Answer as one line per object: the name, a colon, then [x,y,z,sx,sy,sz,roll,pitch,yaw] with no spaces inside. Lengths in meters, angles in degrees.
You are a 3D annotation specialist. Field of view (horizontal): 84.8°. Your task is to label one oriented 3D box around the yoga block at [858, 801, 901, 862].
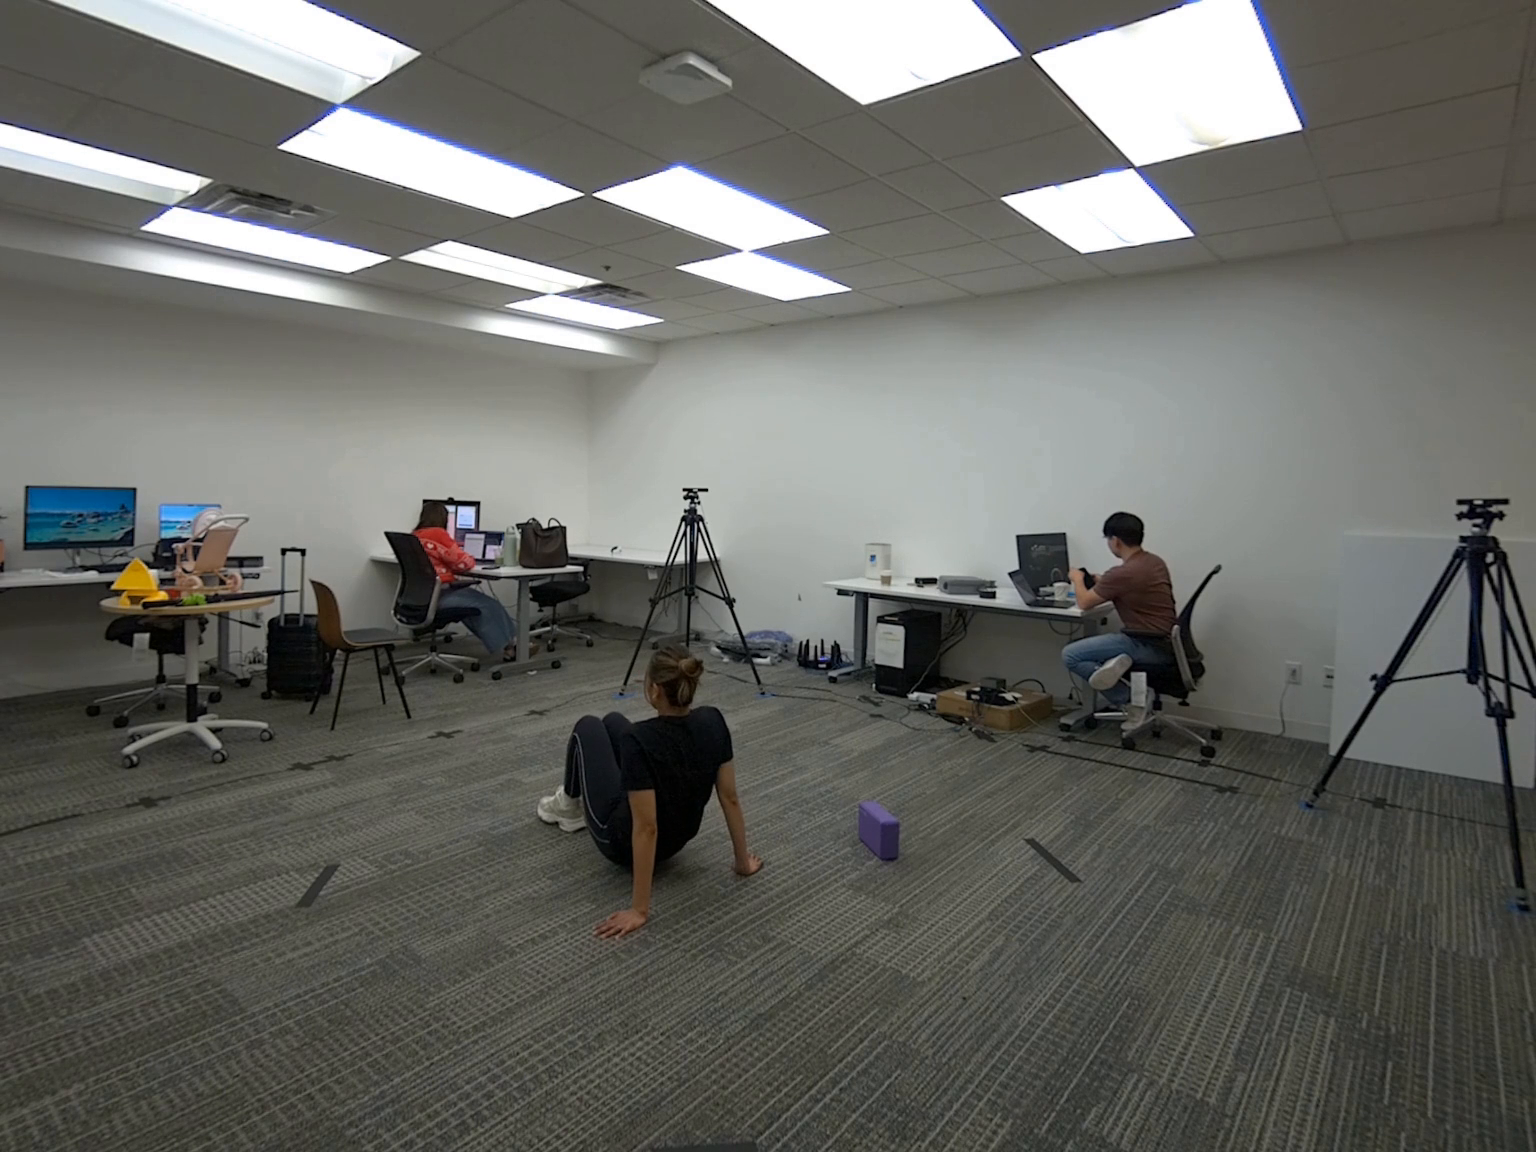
yoga block: [0.422,0.987,3.318,0.075,0.149,0.233,4,3,-16]
